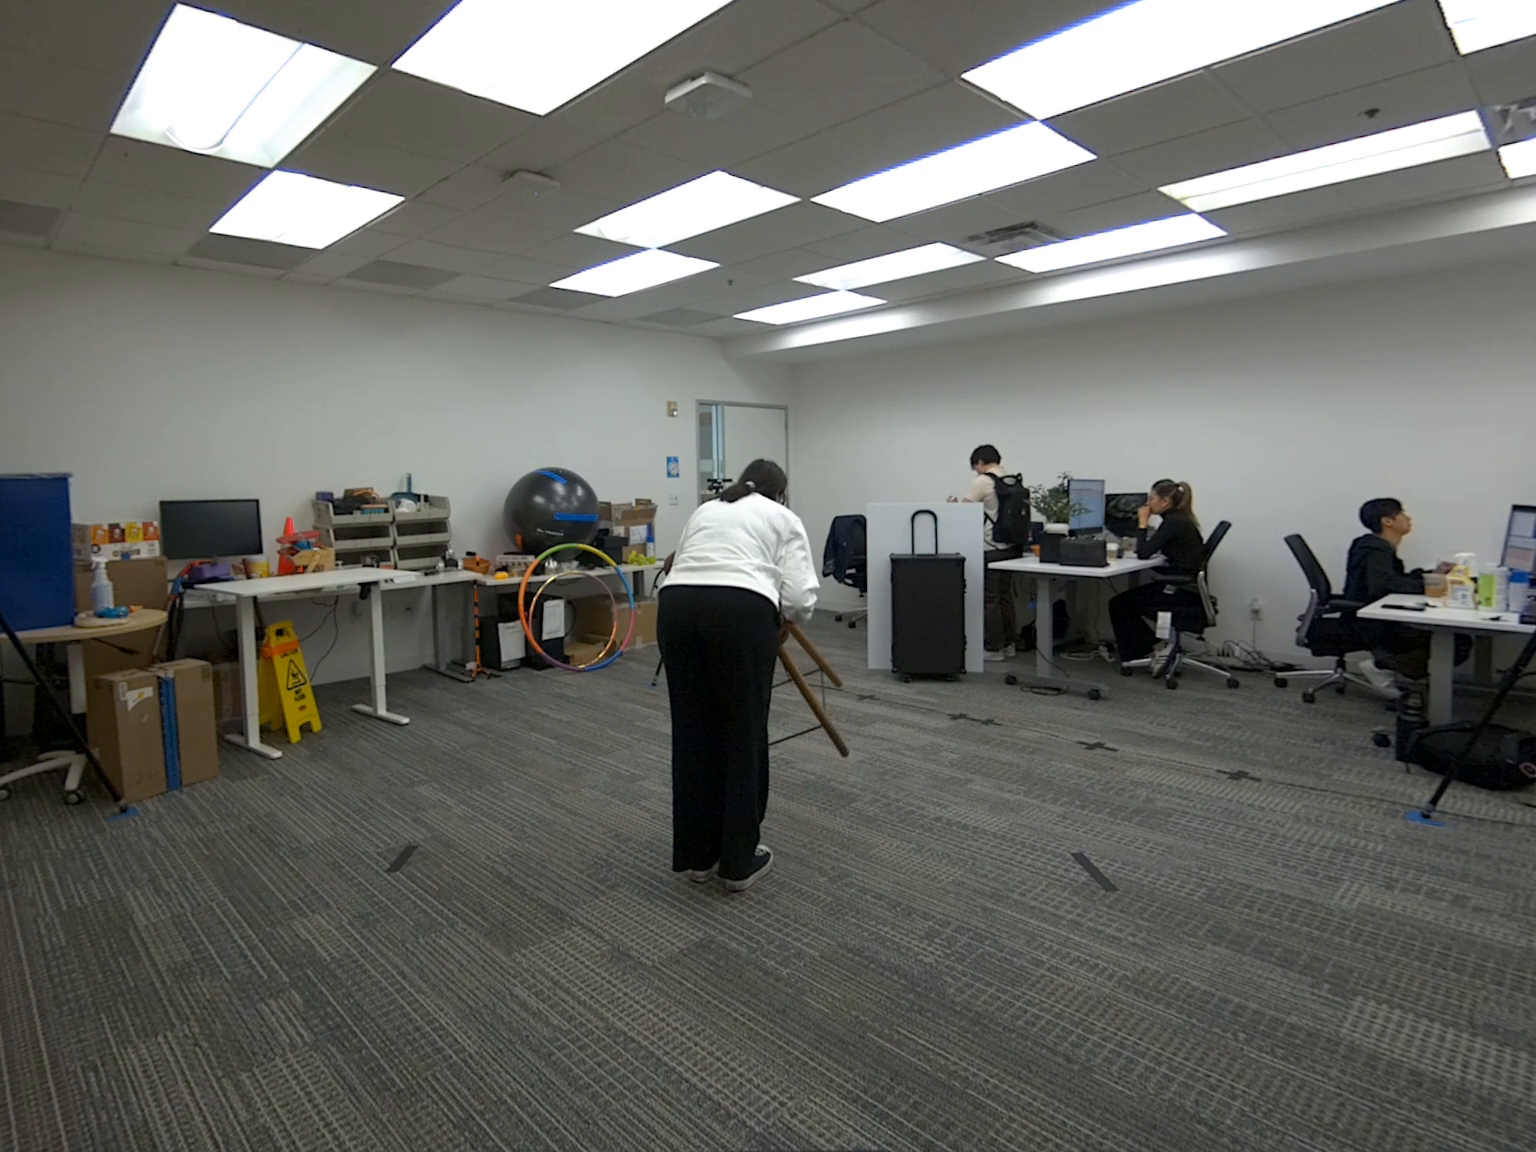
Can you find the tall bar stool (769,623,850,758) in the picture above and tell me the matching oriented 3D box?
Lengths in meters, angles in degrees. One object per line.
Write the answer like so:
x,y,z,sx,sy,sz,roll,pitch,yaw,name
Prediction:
-0.049,0.305,3.358,0.461,0.867,0.475,-22,23,16,tall bar stool
